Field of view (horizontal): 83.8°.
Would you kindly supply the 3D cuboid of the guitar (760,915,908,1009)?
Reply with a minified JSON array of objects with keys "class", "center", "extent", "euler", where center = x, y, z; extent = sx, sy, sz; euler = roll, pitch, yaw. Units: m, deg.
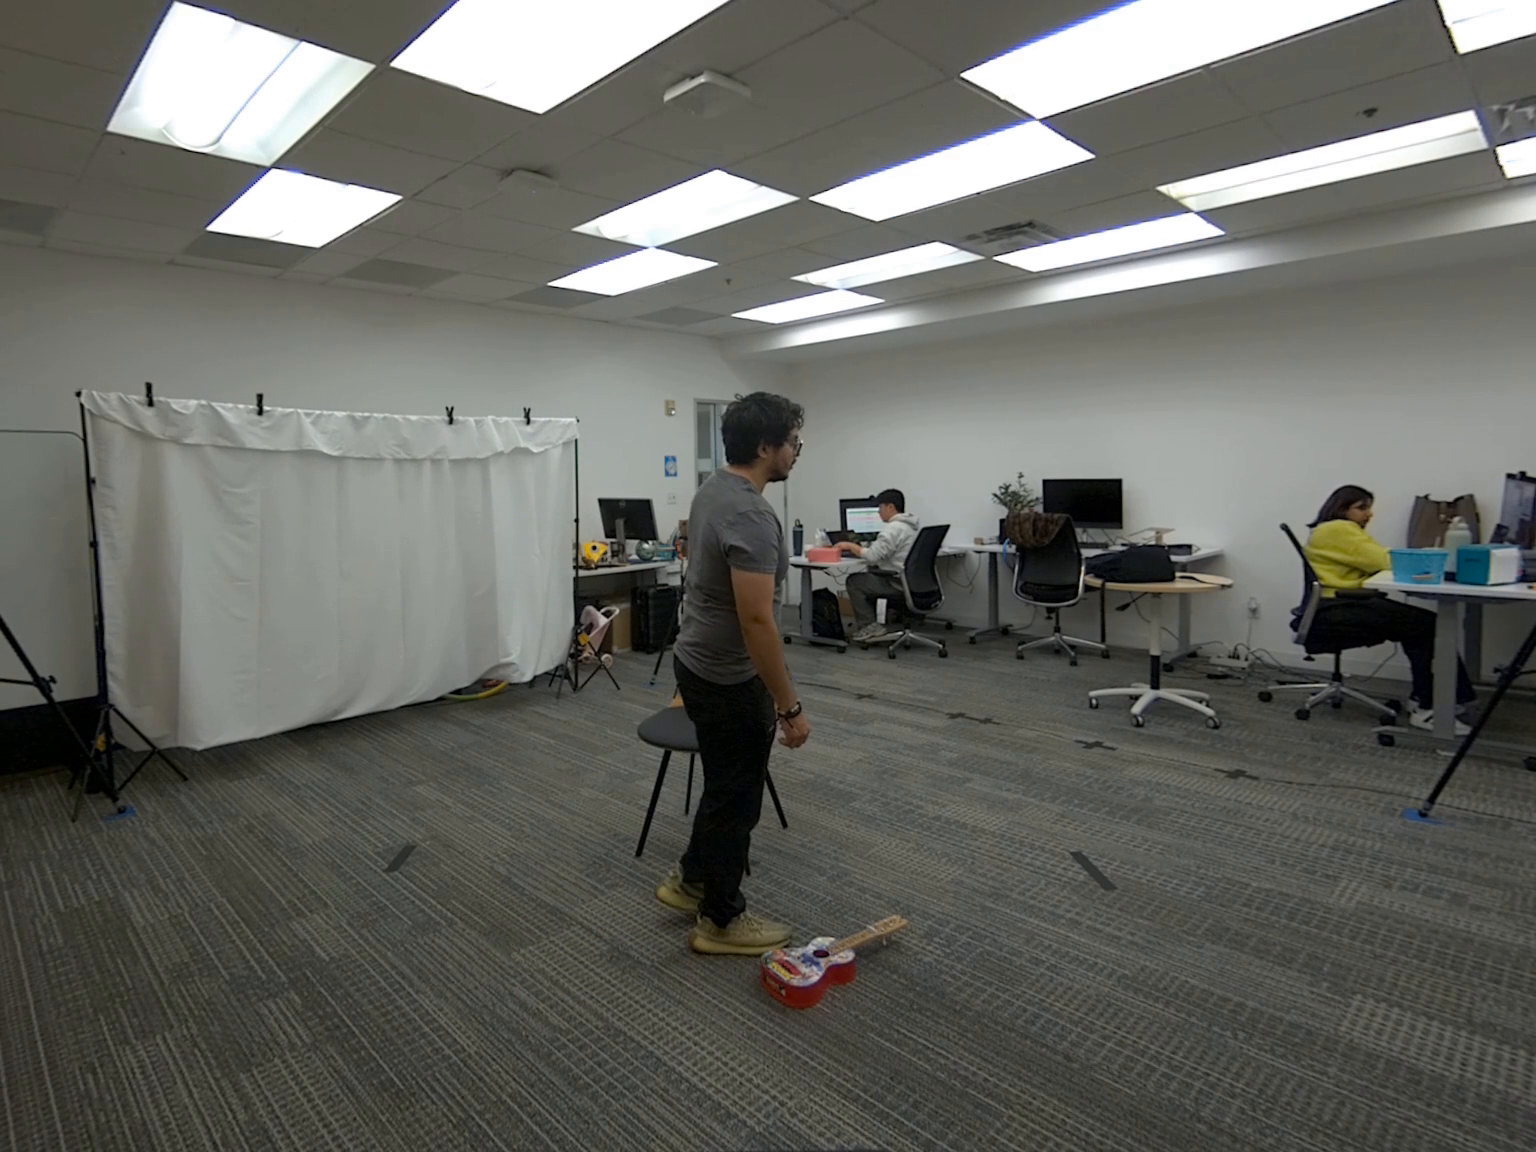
[{"class":"guitar","center":[0.228,1.085,2.418],"extent":[0.487,0.070,0.198],"euler":[-5,7,-25]}]
